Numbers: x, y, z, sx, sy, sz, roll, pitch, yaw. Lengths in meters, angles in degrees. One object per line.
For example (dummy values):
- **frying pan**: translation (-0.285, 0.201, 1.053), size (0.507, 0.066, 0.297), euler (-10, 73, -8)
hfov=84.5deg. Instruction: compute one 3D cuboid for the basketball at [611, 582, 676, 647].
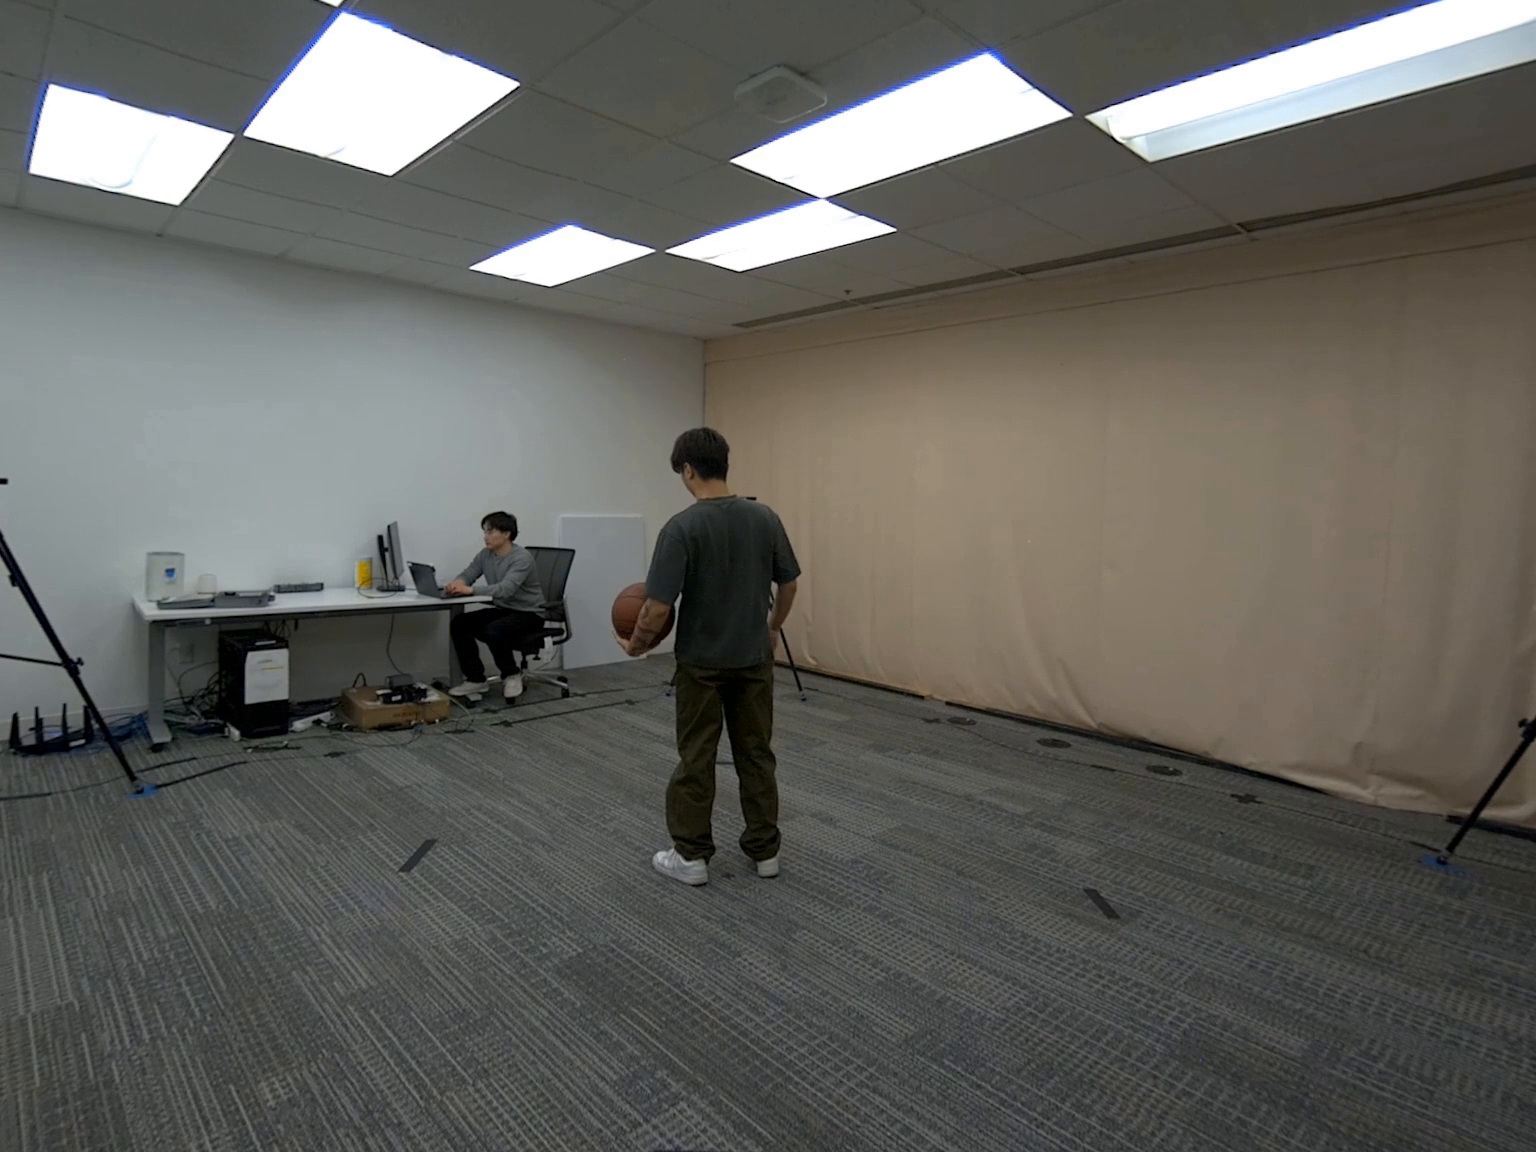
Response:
- **basketball**: translation (-0.452, 0.136, 3.146), size (0.236, 0.235, 0.237), euler (1, 4, -1)
